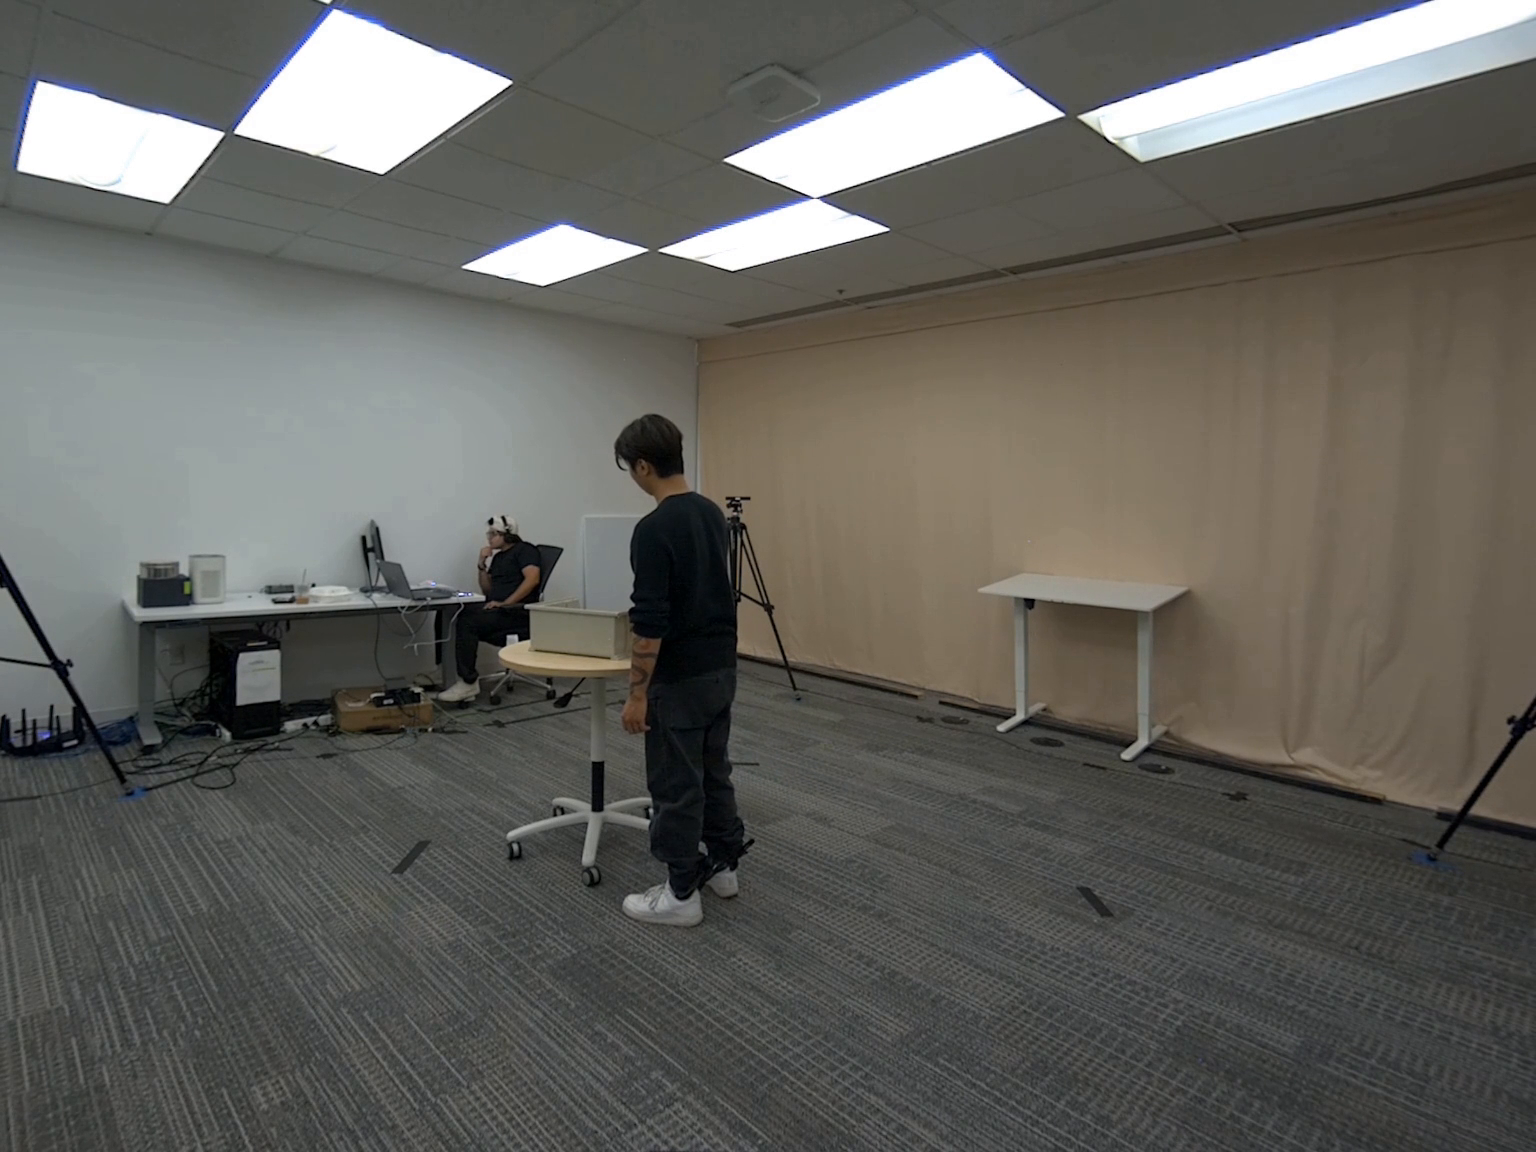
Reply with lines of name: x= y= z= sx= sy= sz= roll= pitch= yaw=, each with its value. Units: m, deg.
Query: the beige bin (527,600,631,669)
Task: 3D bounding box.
beige bin: x=-0.686 y=0.203 z=3.342 sx=0.430 sy=0.188 sz=0.372 roll=3 pitch=7 yaw=23
